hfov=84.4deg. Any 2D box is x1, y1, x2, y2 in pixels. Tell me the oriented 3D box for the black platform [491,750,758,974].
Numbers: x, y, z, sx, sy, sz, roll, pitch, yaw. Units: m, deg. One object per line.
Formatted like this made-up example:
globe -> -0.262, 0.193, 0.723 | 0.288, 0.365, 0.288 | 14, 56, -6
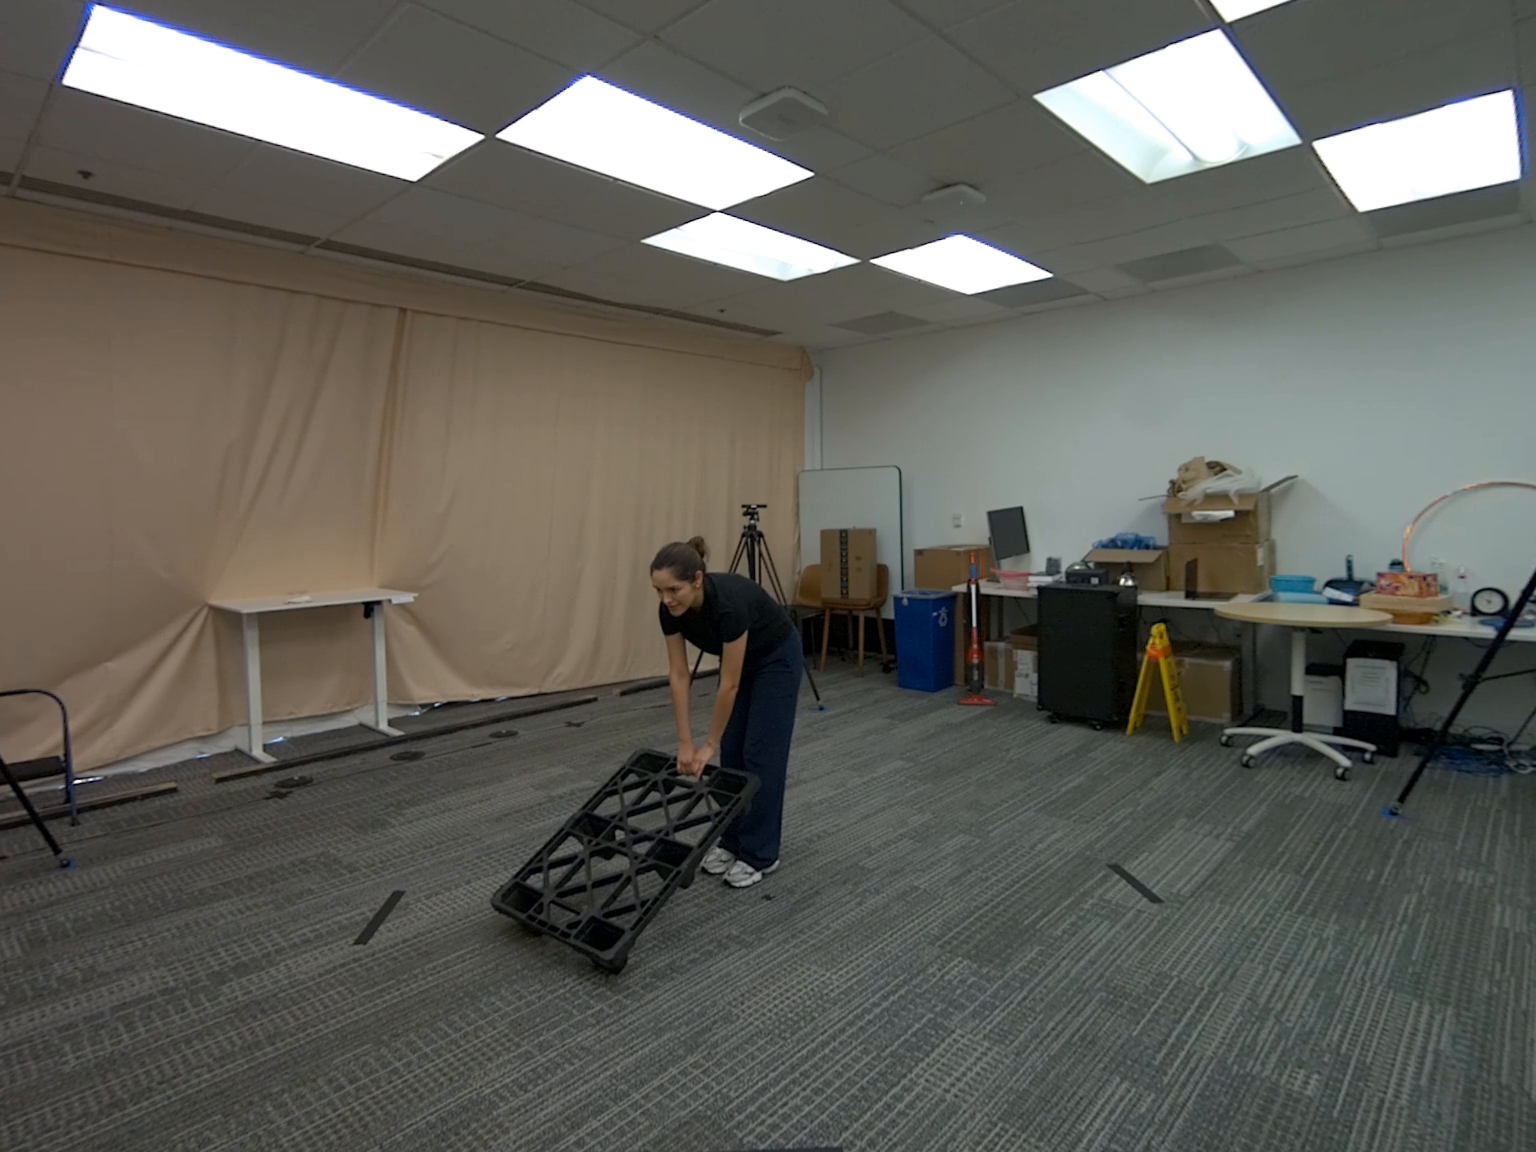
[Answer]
black platform -> -0.441, 0.939, 2.870 | 0.625, 0.140, 0.796 | 2, 33, 38
